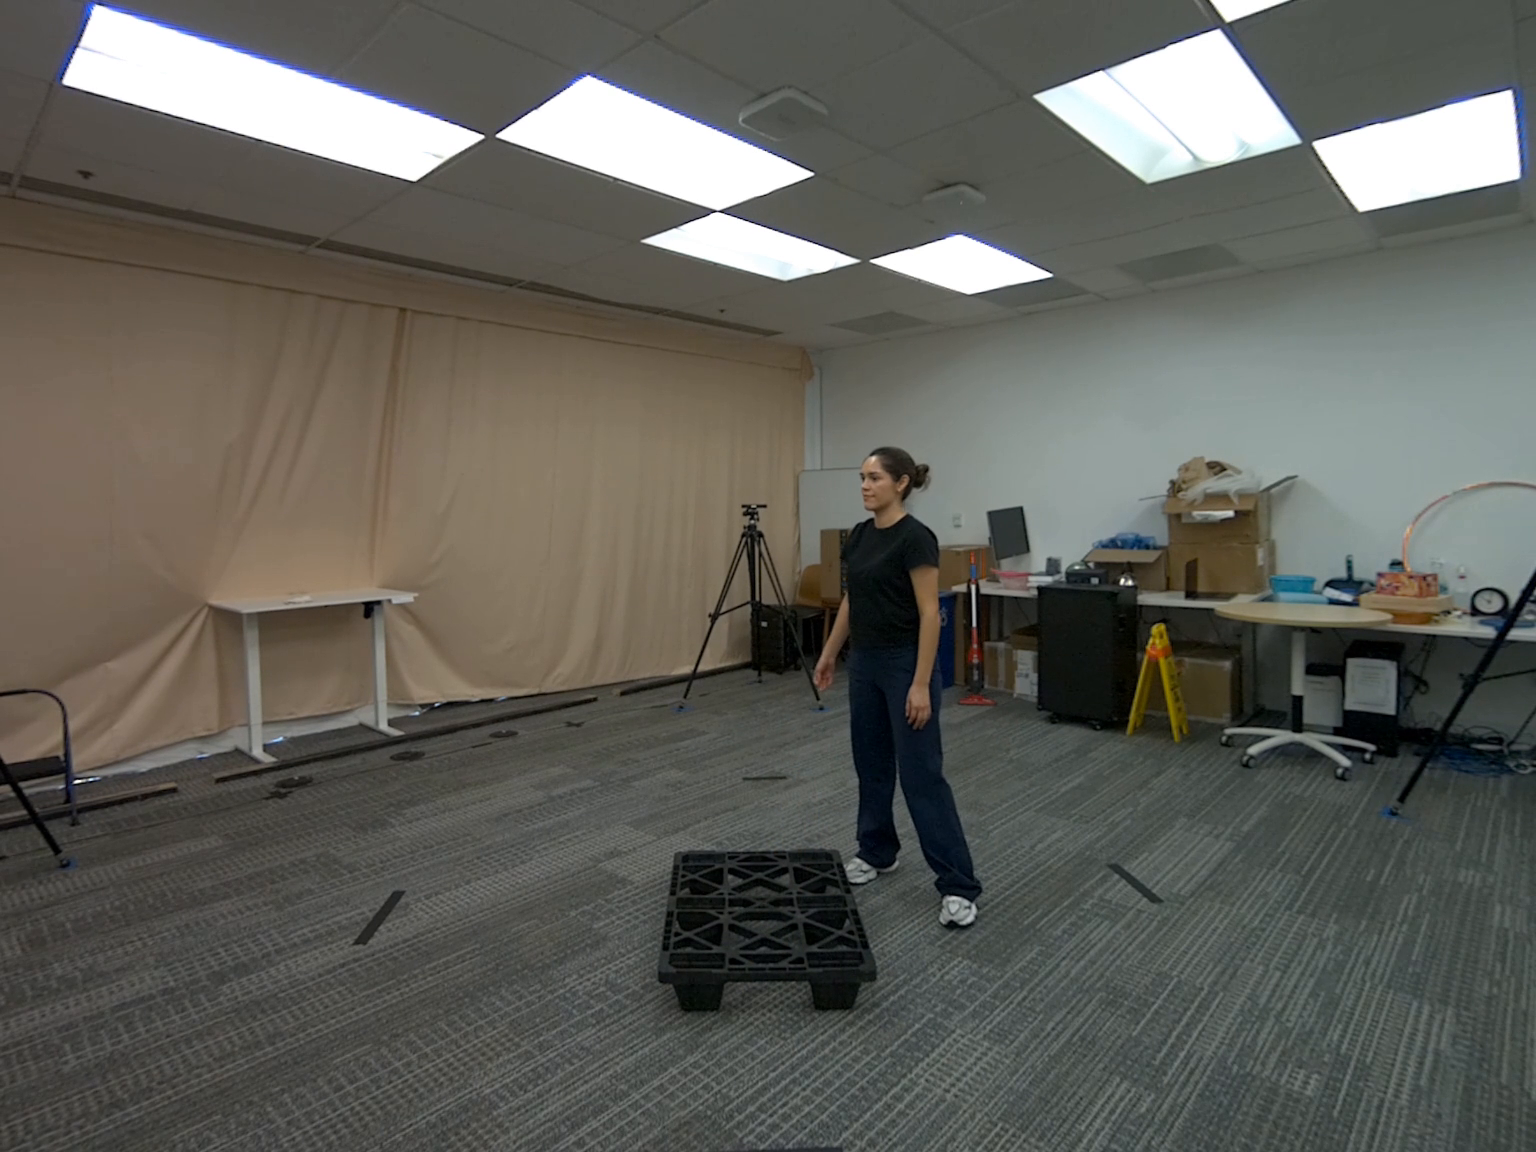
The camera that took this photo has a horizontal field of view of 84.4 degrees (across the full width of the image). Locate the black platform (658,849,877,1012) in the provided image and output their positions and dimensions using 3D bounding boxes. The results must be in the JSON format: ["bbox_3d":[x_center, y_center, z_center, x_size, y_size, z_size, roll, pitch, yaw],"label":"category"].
[{"bbox_3d":[-0.006,1.098,2.675,0.605,0.143,0.808,-2,5,-2],"label":"black platform"}]
